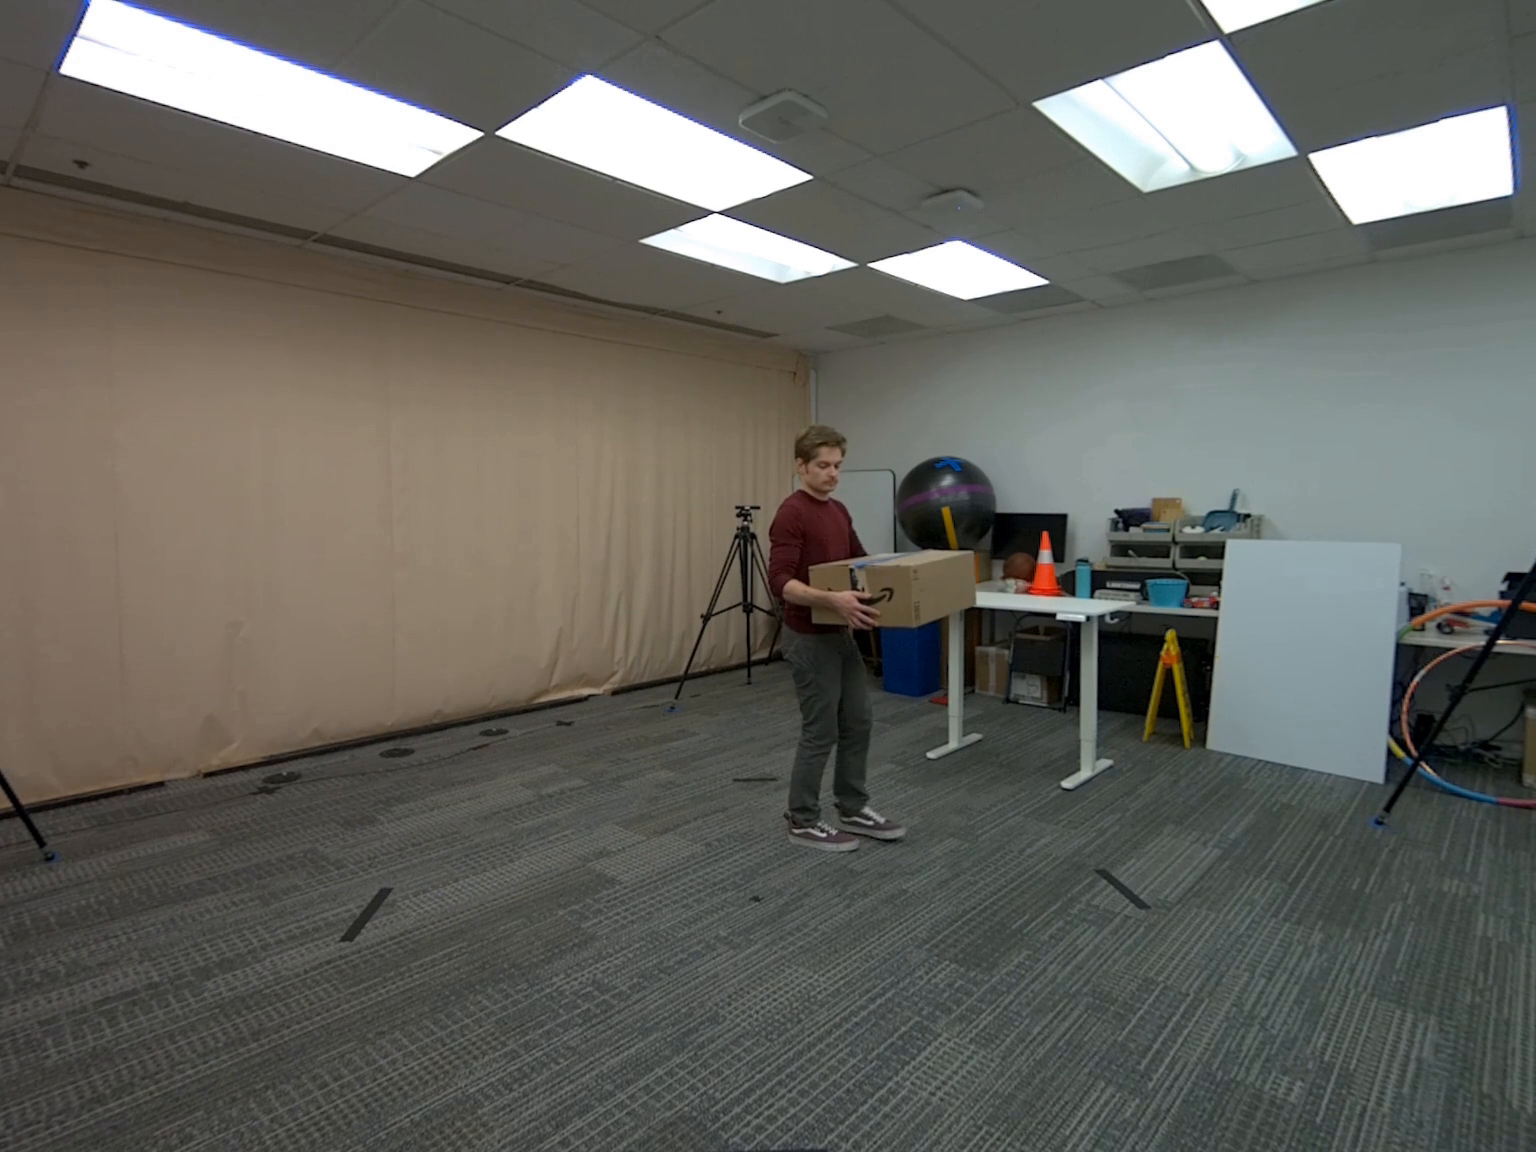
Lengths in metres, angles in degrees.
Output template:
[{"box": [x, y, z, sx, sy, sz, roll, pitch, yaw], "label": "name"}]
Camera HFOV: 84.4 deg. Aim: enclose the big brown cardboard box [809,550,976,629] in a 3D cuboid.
[{"box": [0.486, 0.042, 3.220, 0.430, 0.232, 0.573, 0, 7, 37], "label": "big brown cardboard box"}]
